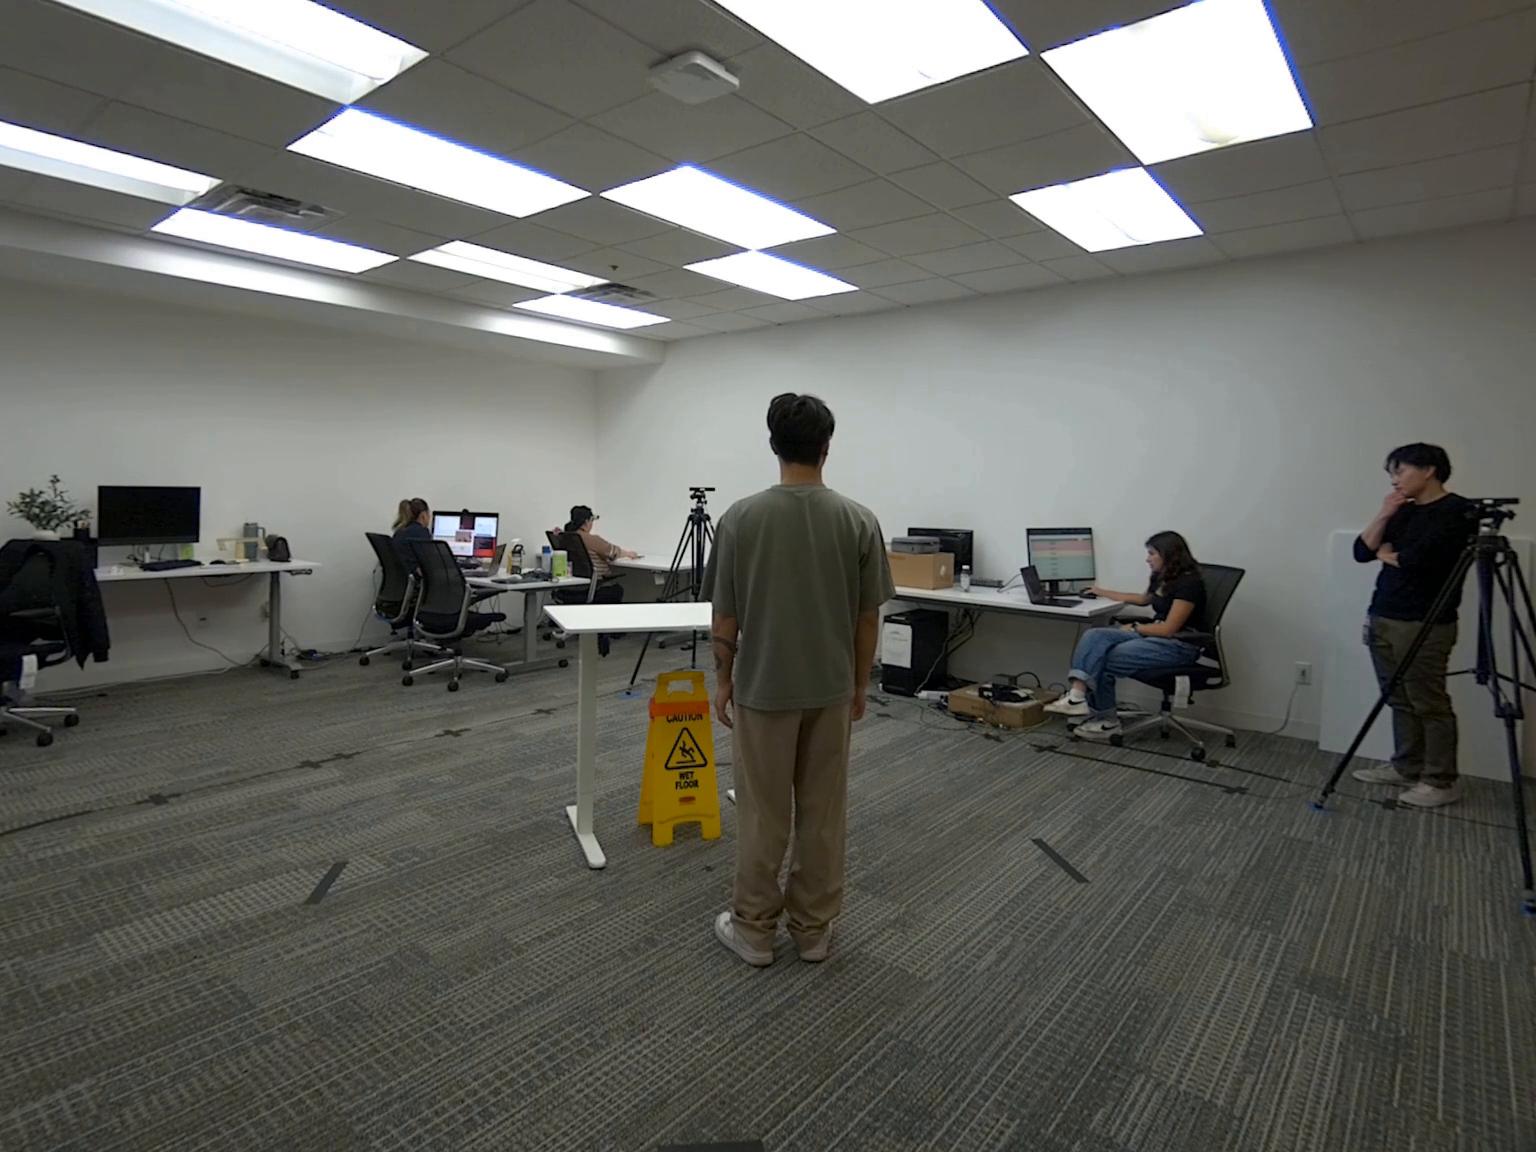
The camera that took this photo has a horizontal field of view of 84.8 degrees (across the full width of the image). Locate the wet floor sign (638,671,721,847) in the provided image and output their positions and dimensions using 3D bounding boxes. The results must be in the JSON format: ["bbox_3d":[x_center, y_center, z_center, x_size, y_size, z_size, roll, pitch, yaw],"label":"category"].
[{"bbox_3d":[-0.364,0.716,3.449,0.276,0.645,0.296,2,2,-21],"label":"wet floor sign"}]
